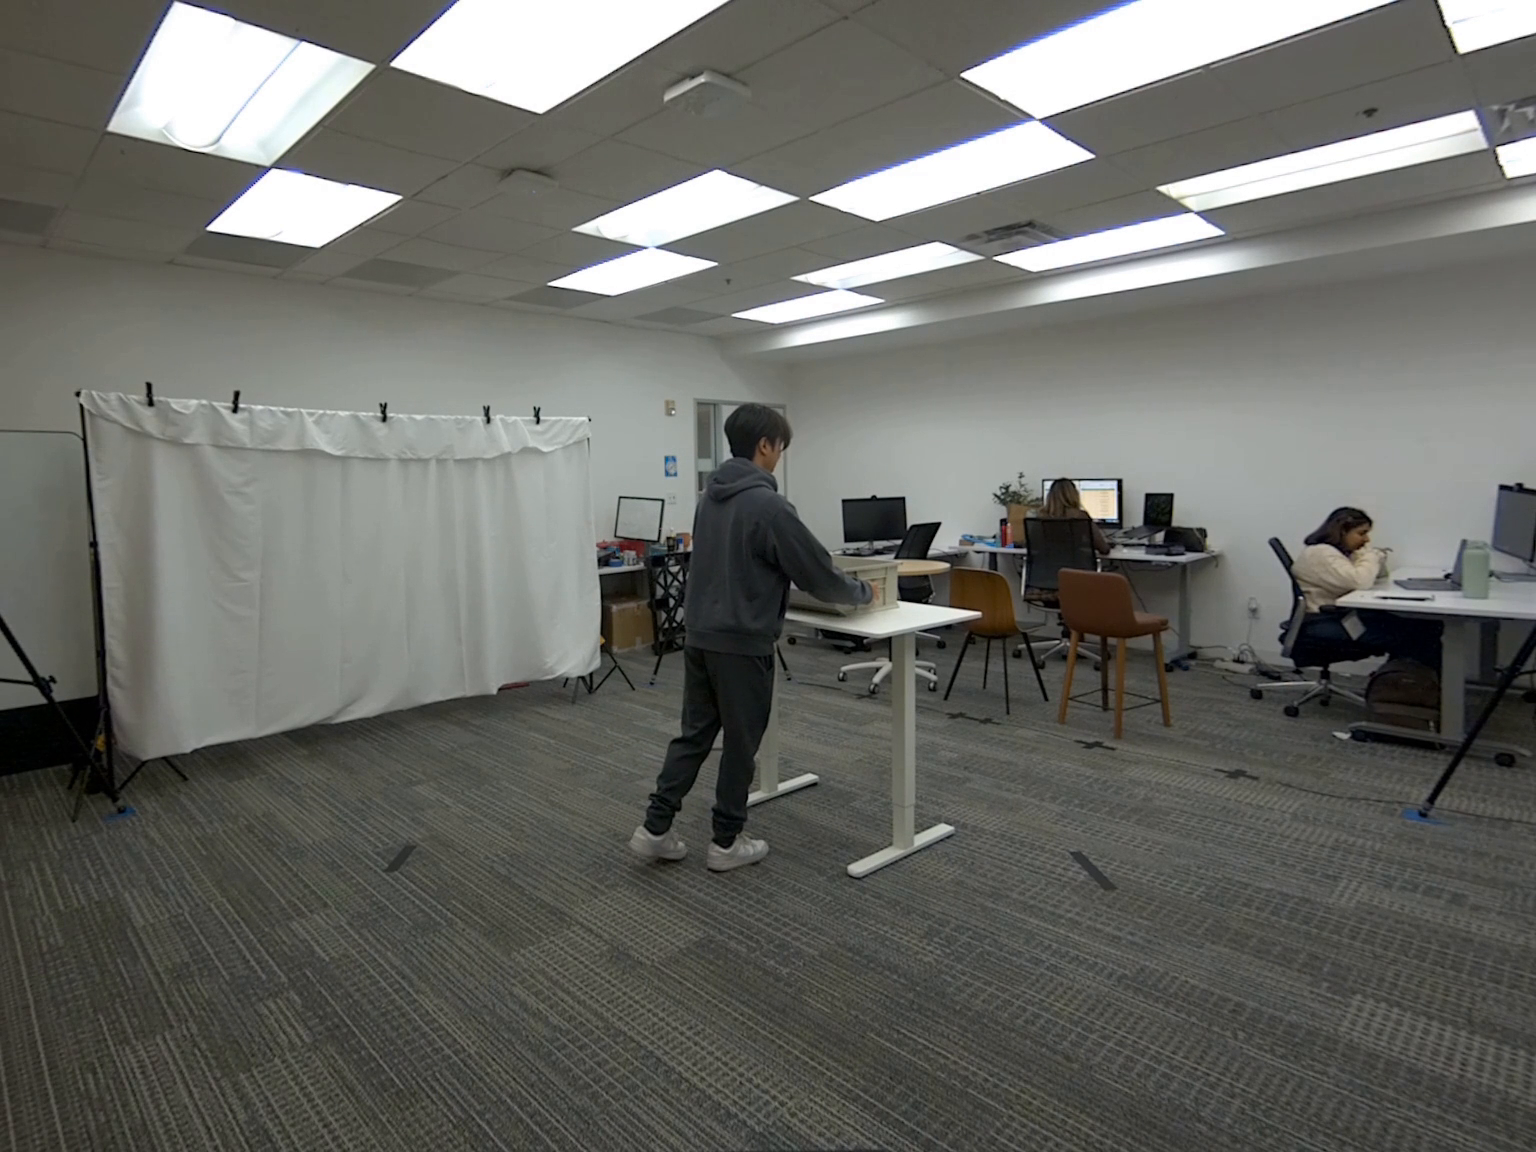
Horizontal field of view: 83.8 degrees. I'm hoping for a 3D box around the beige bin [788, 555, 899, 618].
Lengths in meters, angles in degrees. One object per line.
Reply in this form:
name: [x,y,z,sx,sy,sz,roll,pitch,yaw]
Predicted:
beige bin: [0.262,0.037,3.383,0.367,0.188,0.435,-7,8,-41]
